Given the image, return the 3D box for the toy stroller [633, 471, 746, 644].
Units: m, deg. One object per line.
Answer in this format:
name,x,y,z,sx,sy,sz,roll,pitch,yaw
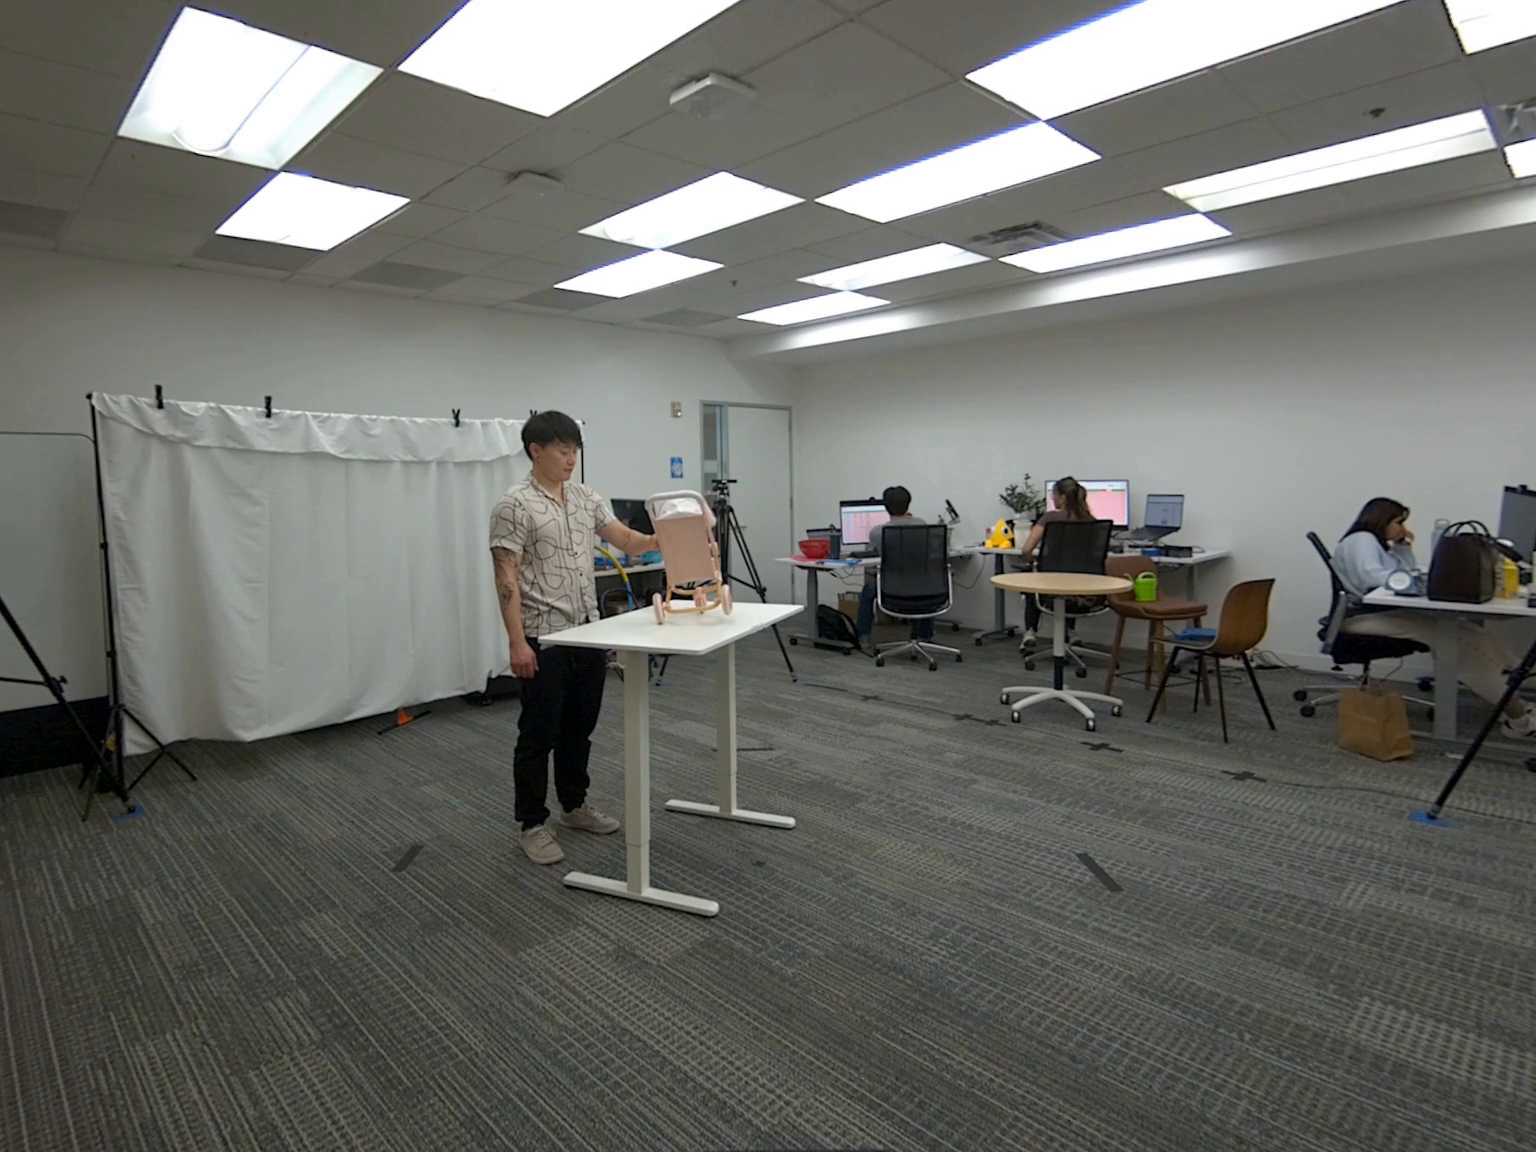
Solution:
toy stroller,-0.279,-0.081,3.169,0.283,0.528,0.343,-8,12,6
